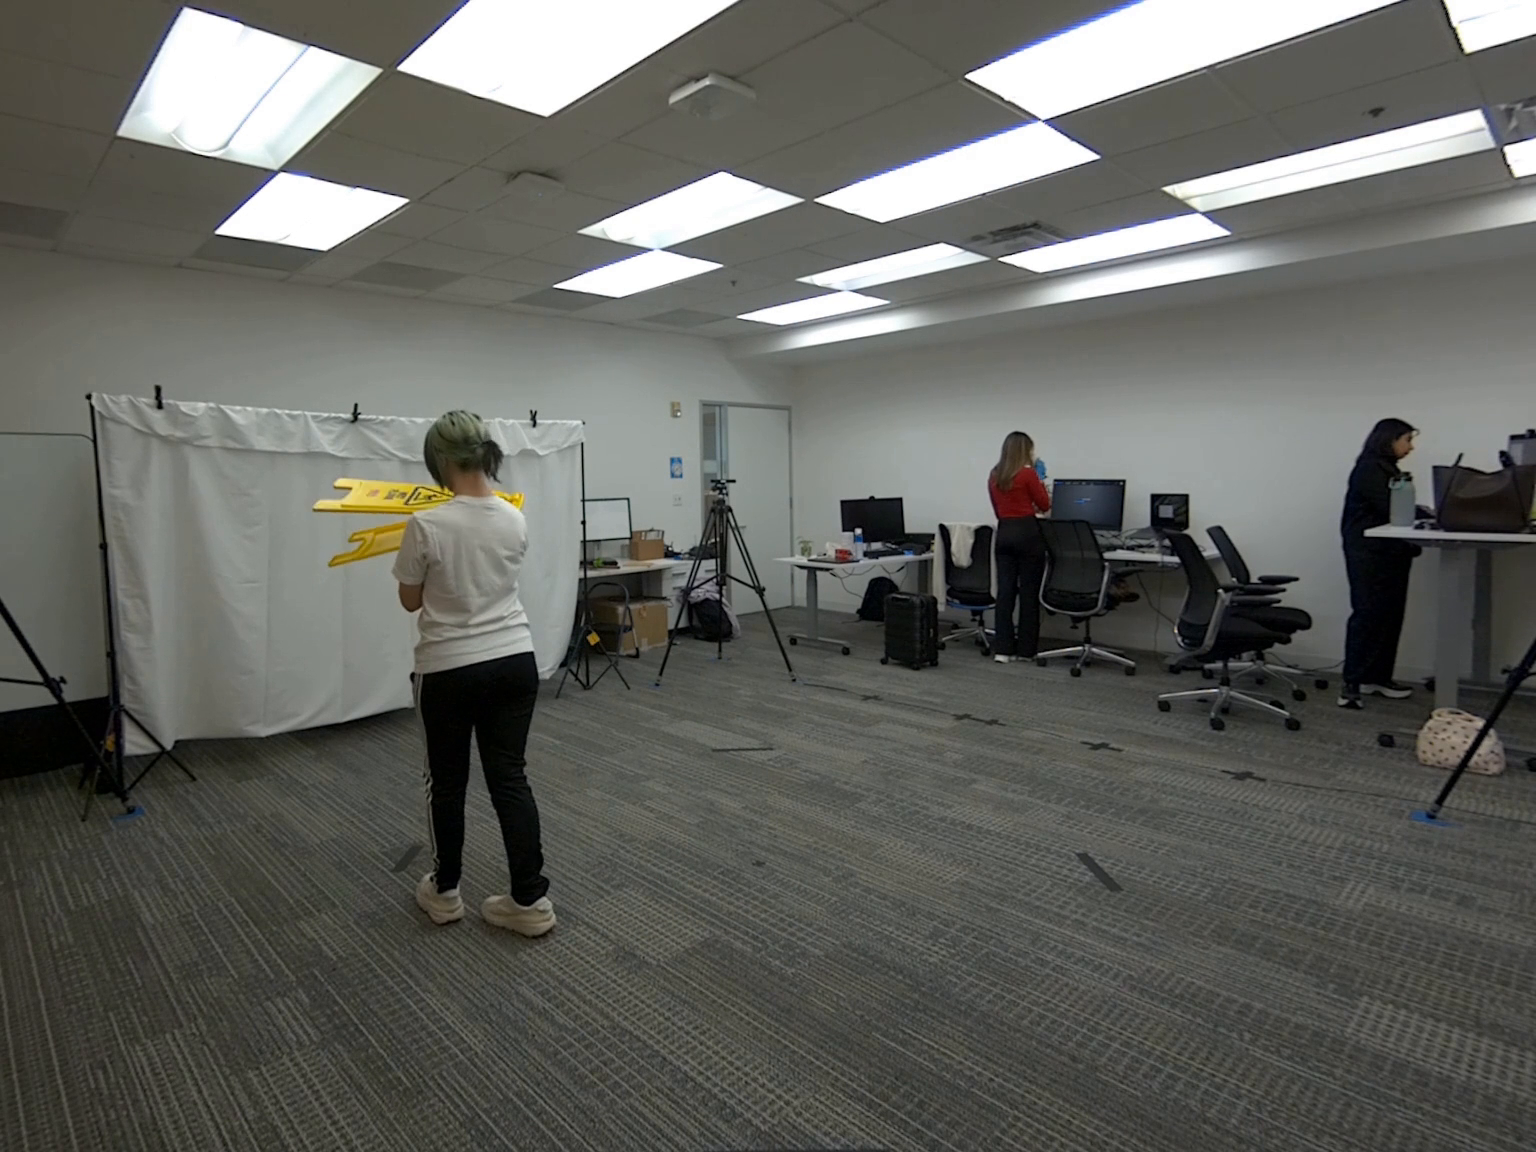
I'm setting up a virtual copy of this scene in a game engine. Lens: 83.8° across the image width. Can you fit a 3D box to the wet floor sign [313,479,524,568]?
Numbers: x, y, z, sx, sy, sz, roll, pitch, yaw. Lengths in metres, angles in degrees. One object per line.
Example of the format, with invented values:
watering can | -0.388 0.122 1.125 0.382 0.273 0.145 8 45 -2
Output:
wet floor sign | -1.182 -0.207 2.978 0.644 0.283 0.290 -7 27 -3
